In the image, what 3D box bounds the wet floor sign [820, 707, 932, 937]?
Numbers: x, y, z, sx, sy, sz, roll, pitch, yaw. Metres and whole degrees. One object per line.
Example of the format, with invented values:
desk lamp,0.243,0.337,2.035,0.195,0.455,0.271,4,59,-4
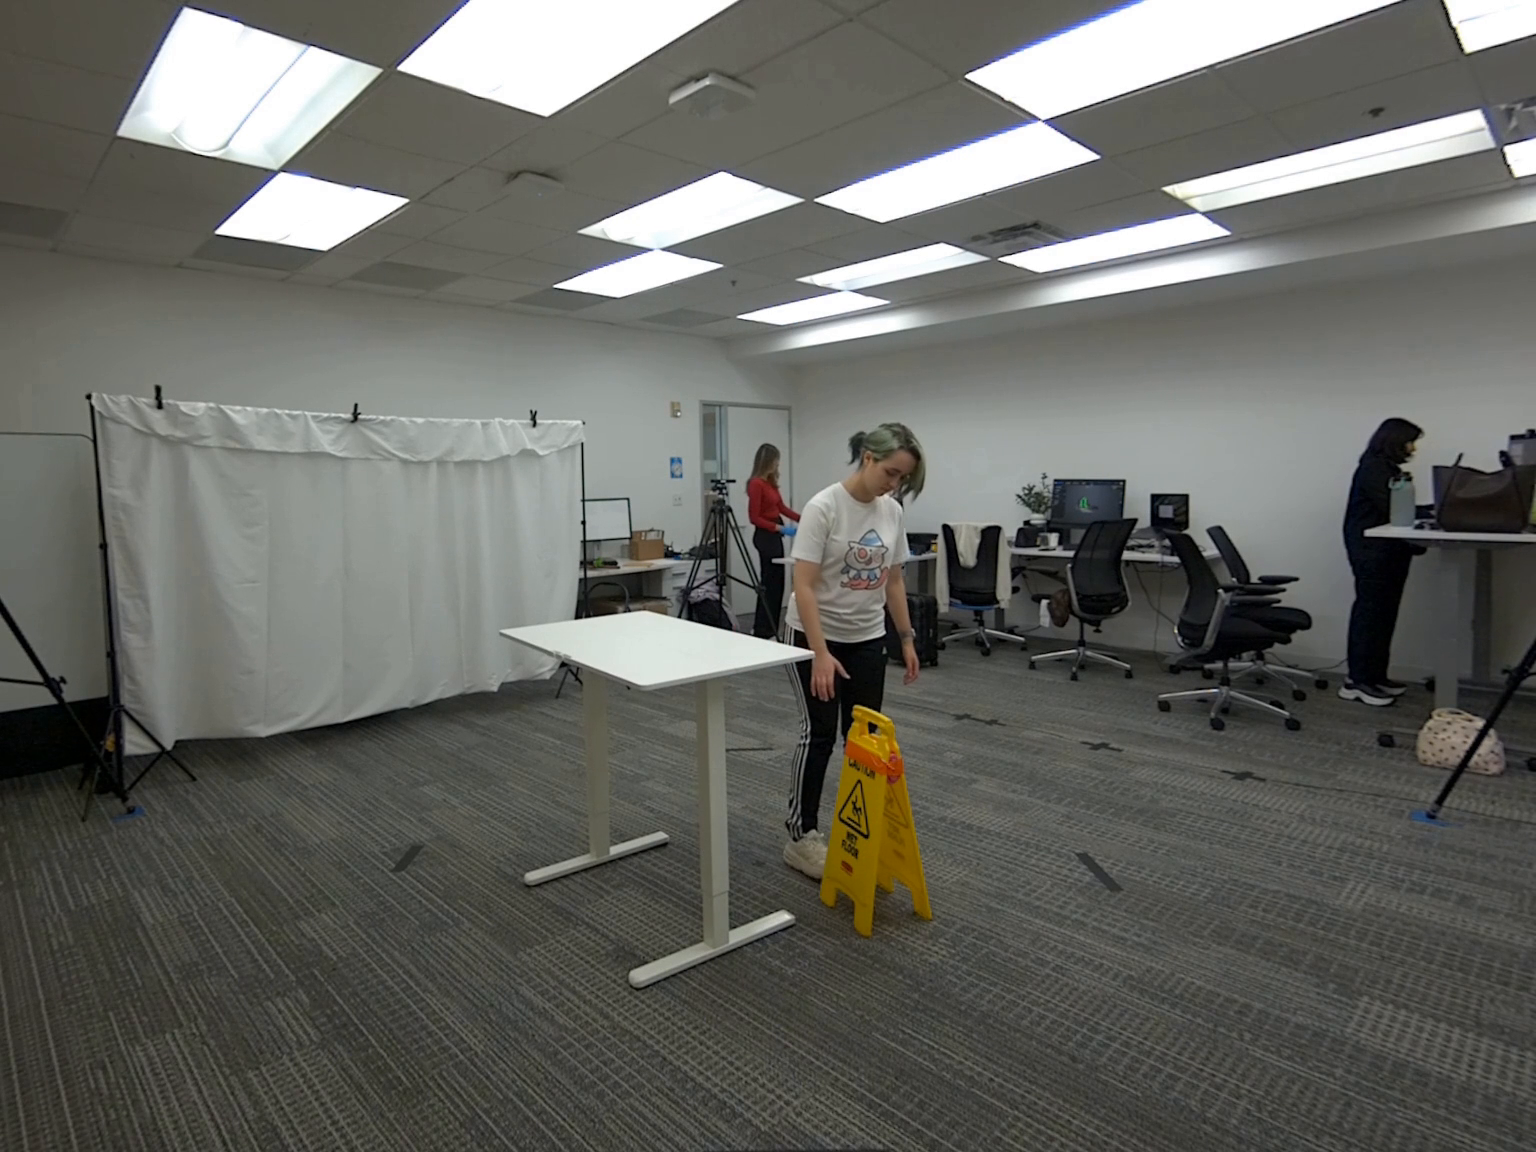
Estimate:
wet floor sign,0.342,0.760,2.740,0.284,0.643,0.289,-3,5,-24
